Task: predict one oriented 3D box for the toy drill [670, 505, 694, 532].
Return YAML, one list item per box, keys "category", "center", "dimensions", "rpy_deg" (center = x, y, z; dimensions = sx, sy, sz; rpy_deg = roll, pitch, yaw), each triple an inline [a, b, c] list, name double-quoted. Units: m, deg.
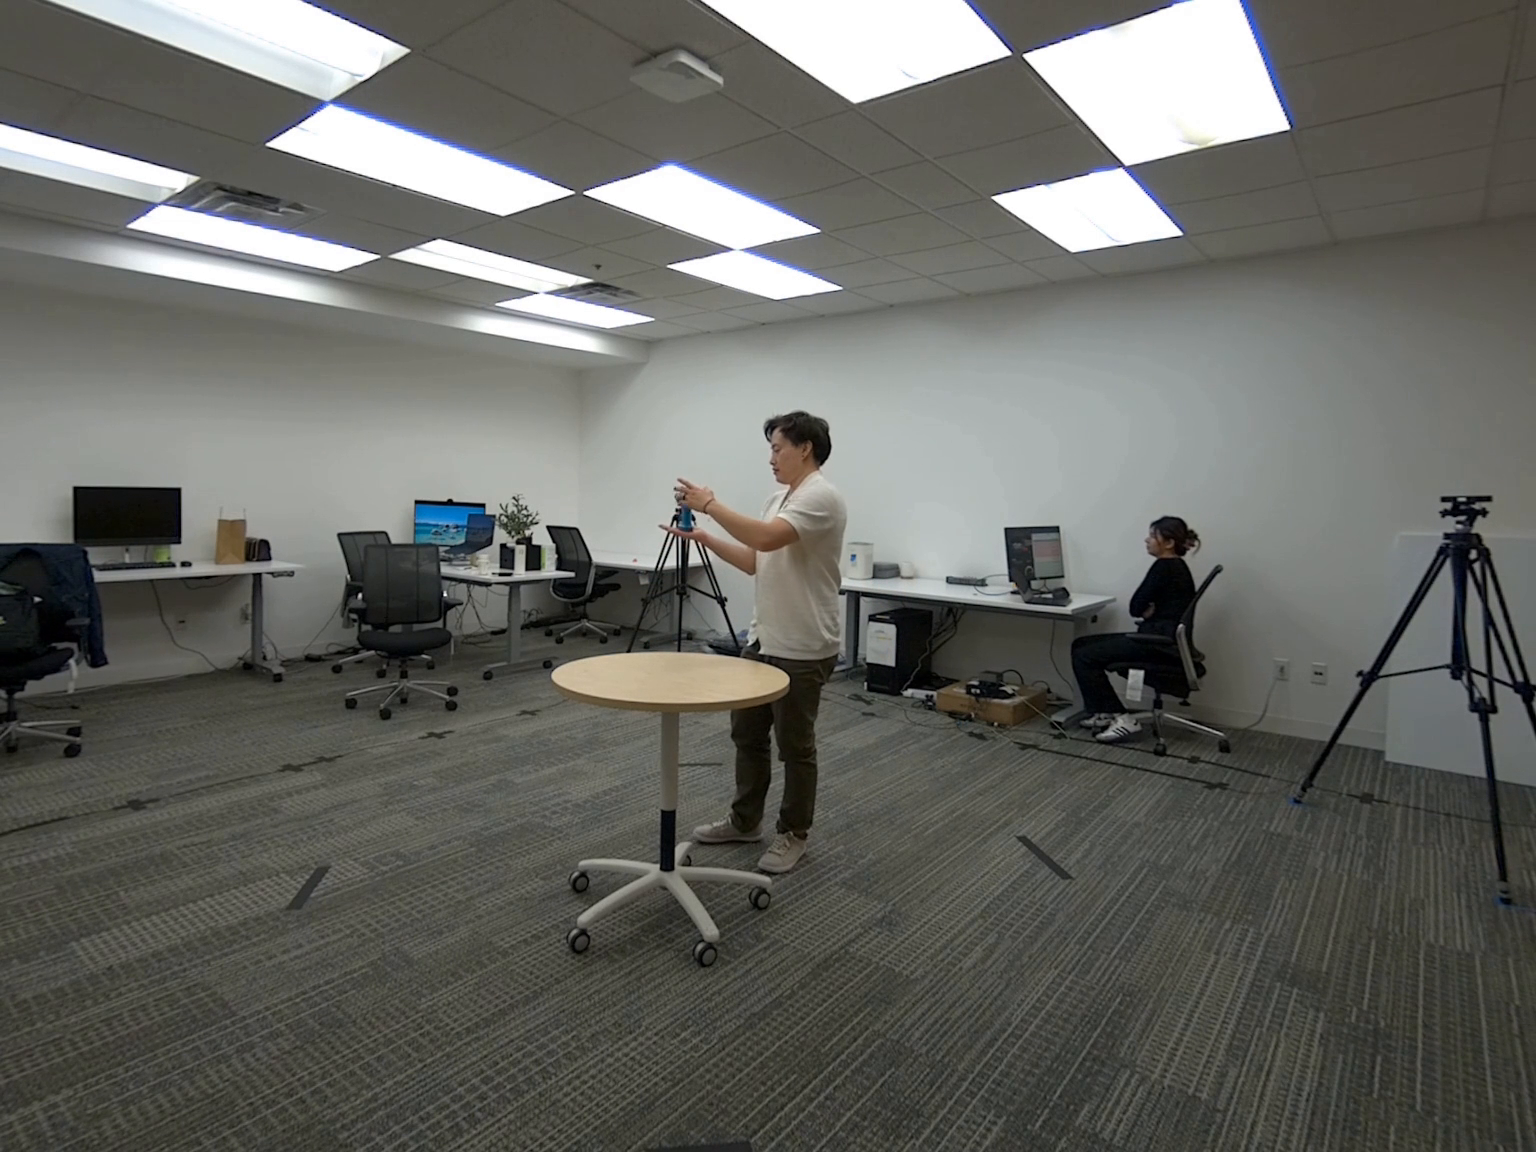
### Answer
- category: "toy drill"
  center: [-0.329, -0.256, 3.162]
  dimensions: [0.060, 0.144, 0.175]
  rpy_deg: [-4, 18, -20]
